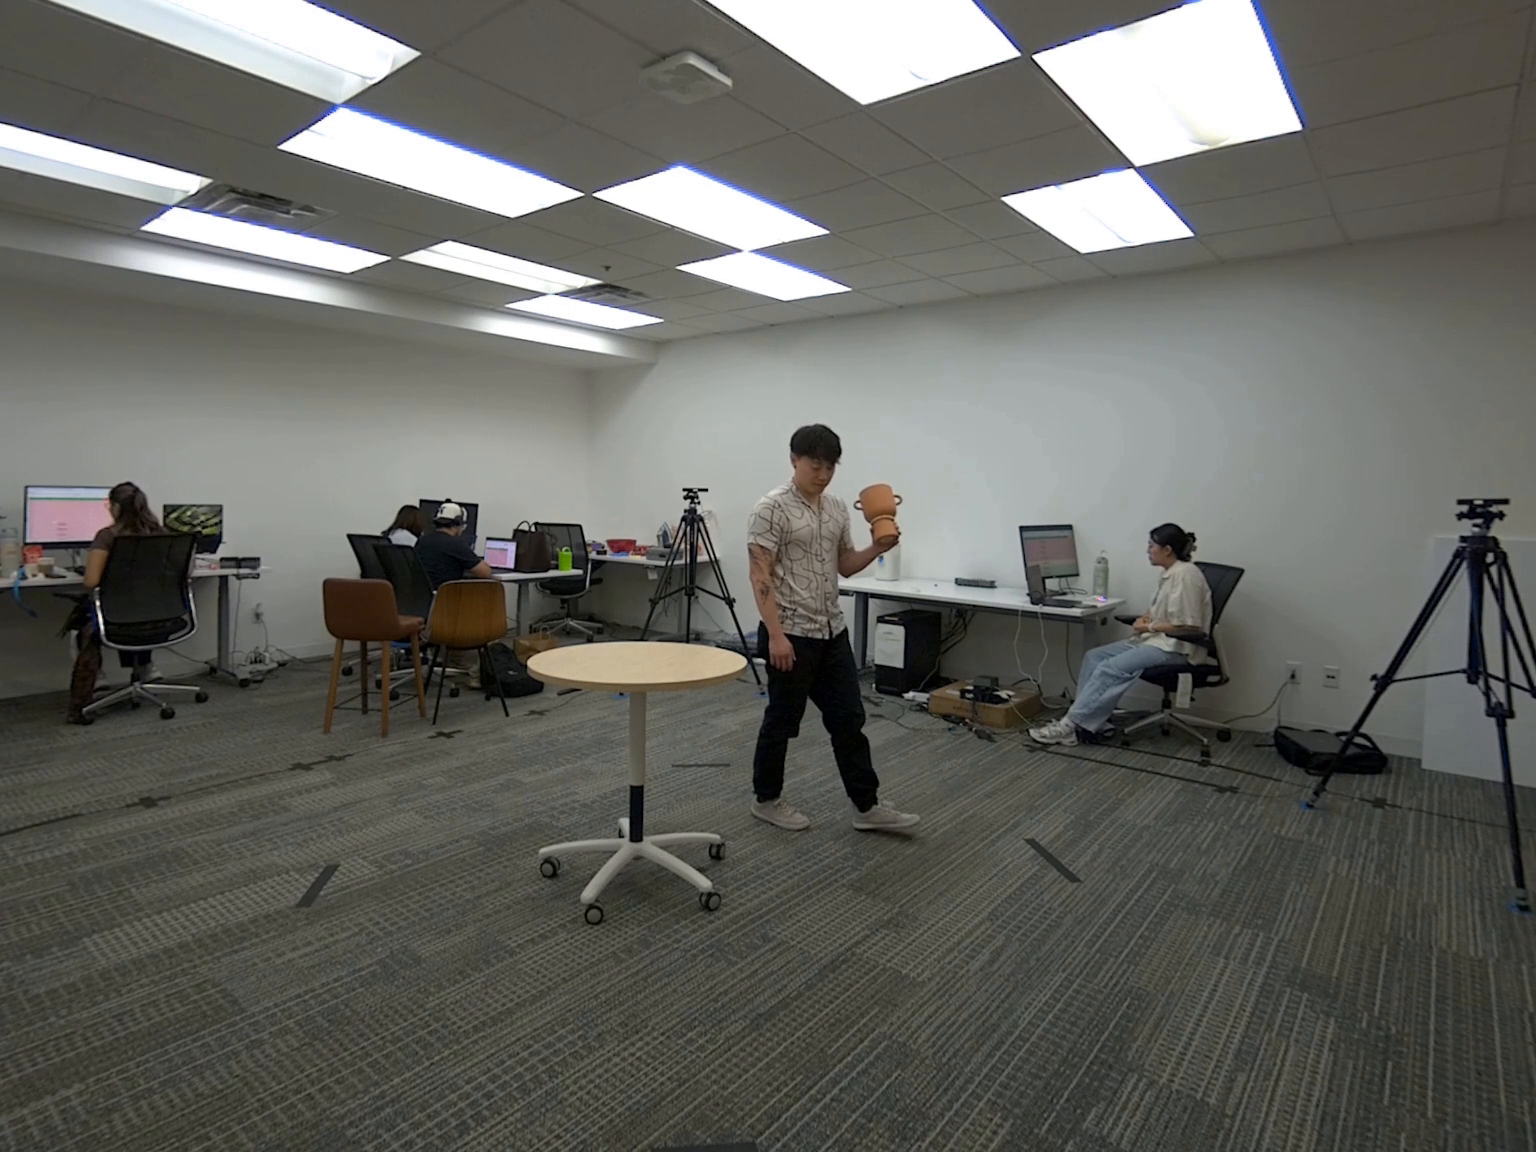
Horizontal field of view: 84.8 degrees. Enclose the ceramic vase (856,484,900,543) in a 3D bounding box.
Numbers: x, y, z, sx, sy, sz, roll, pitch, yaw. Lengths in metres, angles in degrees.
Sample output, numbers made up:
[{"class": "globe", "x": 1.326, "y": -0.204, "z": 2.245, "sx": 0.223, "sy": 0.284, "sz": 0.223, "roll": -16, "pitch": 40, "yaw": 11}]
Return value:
[{"class": "ceramic vase", "x": 0.449, "y": -0.250, "z": 3.412, "sx": 0.161, "sy": 0.225, "sz": 0.129, "roll": -25, "pitch": -29, "yaw": 32}]
